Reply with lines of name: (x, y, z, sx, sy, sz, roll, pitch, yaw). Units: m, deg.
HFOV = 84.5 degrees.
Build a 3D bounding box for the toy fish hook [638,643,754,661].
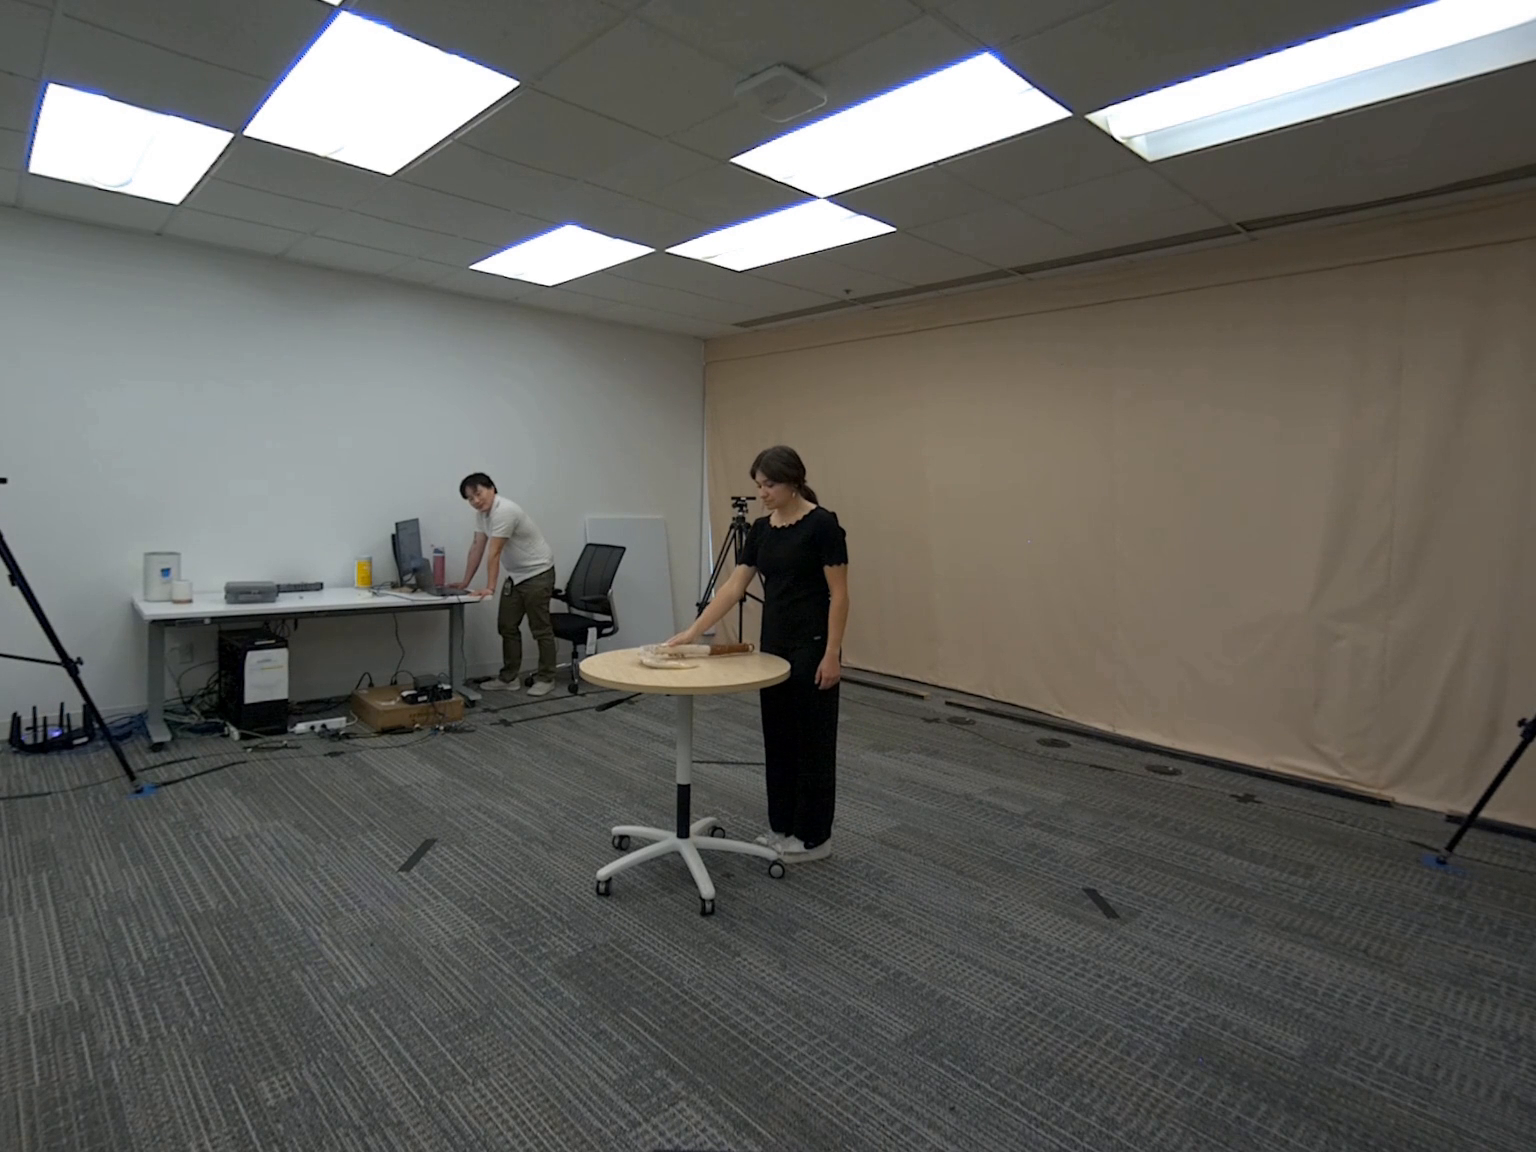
toy fish hook: (-0.249, 0.299, 3.116, 0.496, 0.048, 0.231, -1, 15, -31)
